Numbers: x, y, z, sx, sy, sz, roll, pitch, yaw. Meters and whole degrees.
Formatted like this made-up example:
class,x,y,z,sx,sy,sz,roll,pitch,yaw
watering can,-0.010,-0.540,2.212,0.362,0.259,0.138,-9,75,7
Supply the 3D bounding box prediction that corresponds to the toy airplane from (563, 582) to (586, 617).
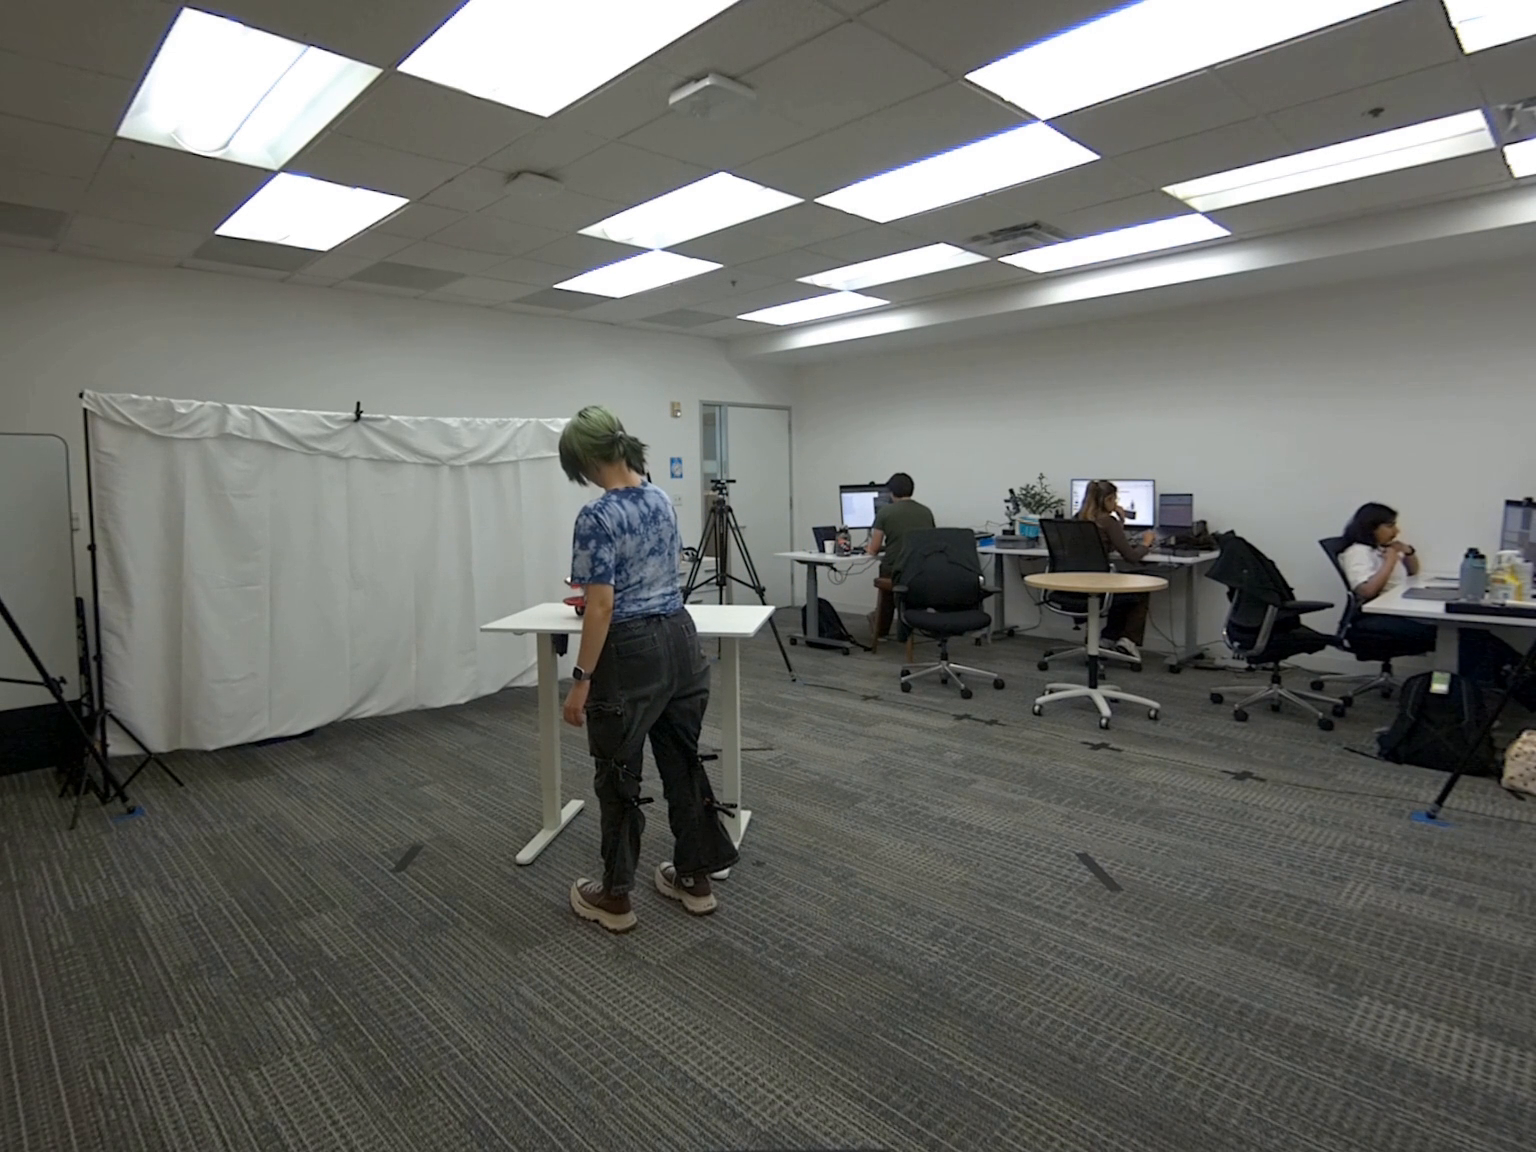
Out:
class,x,y,z,sx,sy,sz,roll,pitch,yaw
toy airplane,-0.628,0.075,3.269,0.265,0.156,0.246,-2,3,25
